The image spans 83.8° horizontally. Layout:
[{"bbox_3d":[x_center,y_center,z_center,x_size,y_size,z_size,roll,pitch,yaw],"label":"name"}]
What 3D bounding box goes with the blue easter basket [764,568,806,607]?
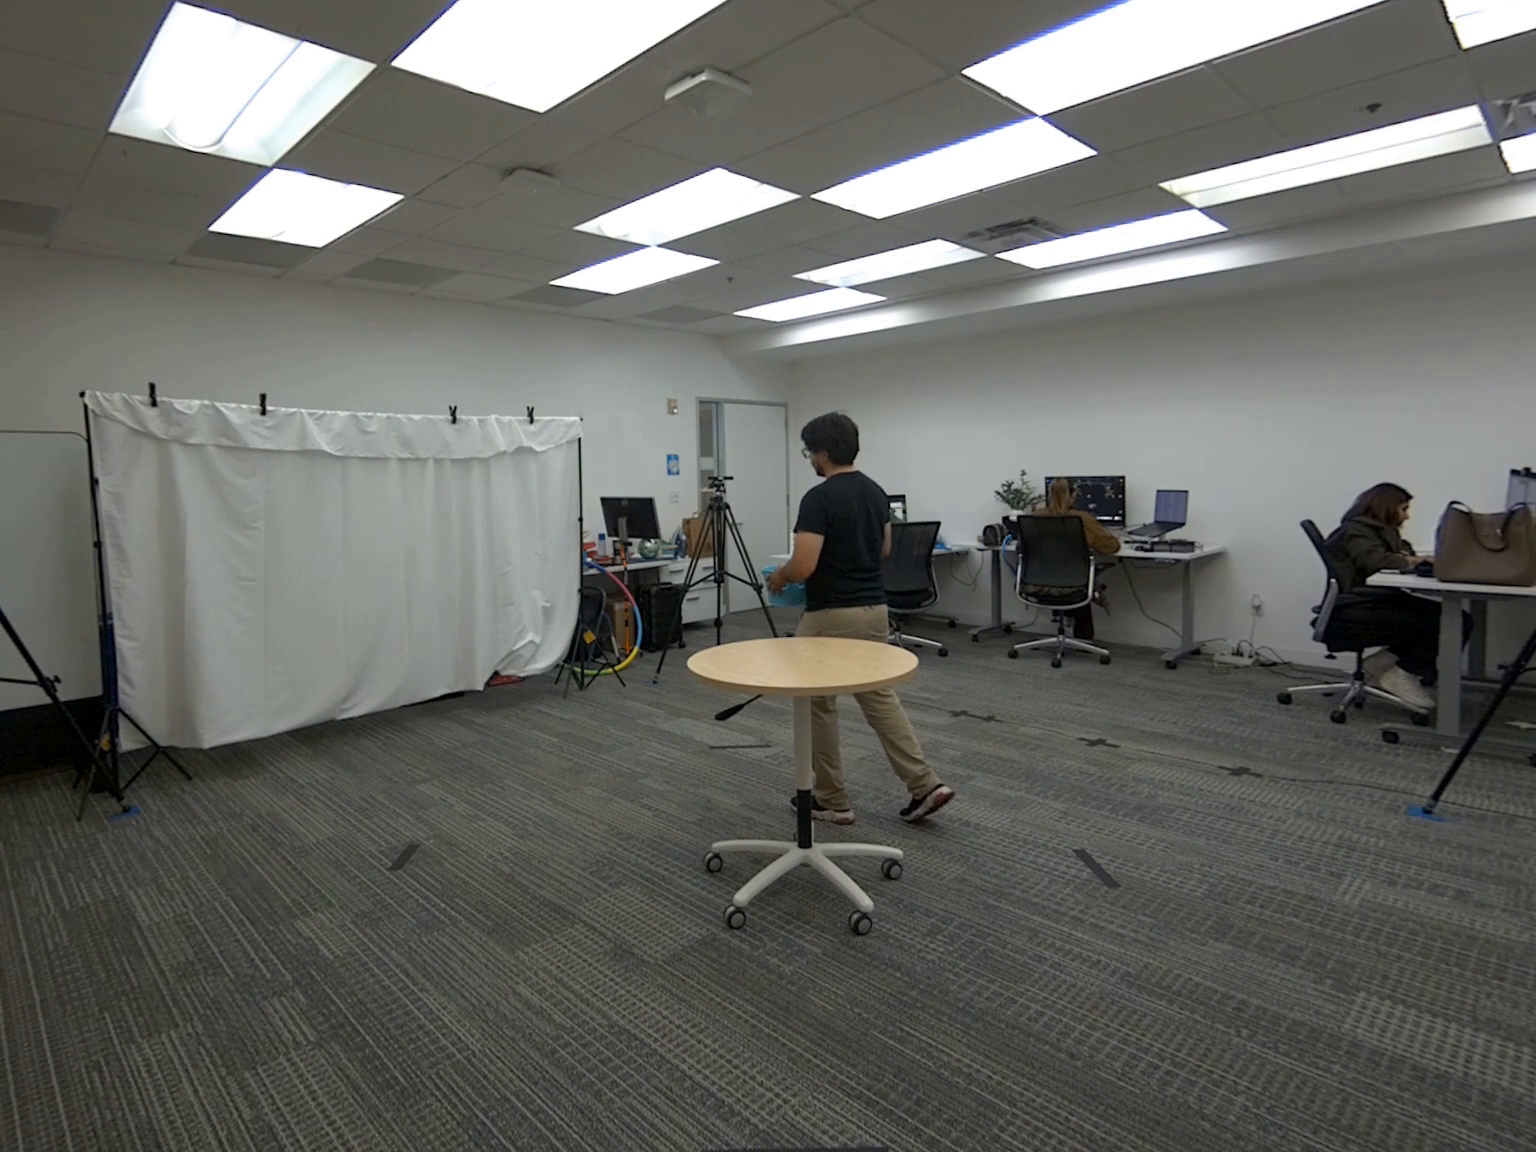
[{"bbox_3d":[0.115,0.038,3.703,0.243,0.155,0.245,-4,7,-1],"label":"blue easter basket"}]
